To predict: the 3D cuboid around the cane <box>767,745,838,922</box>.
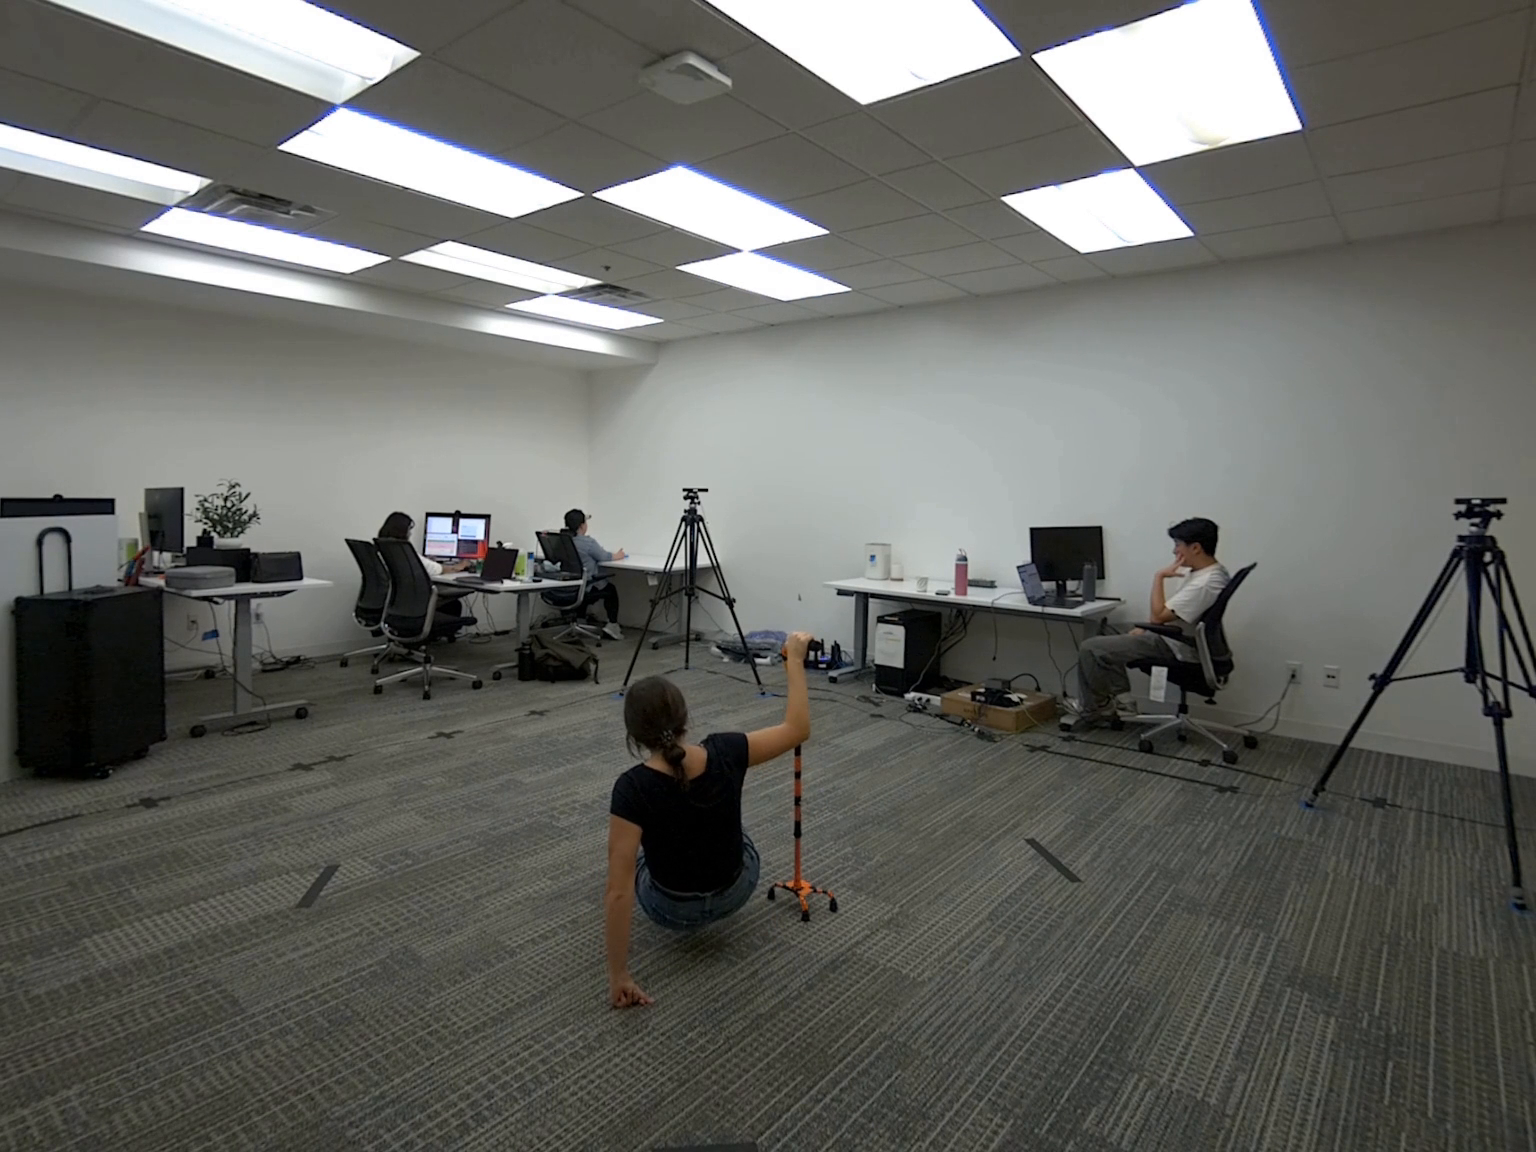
[{"bbox_3d":[0.115,0.641,2.823,0.147,0.904,0.213,-4,5,-36],"label":"cane"}]
